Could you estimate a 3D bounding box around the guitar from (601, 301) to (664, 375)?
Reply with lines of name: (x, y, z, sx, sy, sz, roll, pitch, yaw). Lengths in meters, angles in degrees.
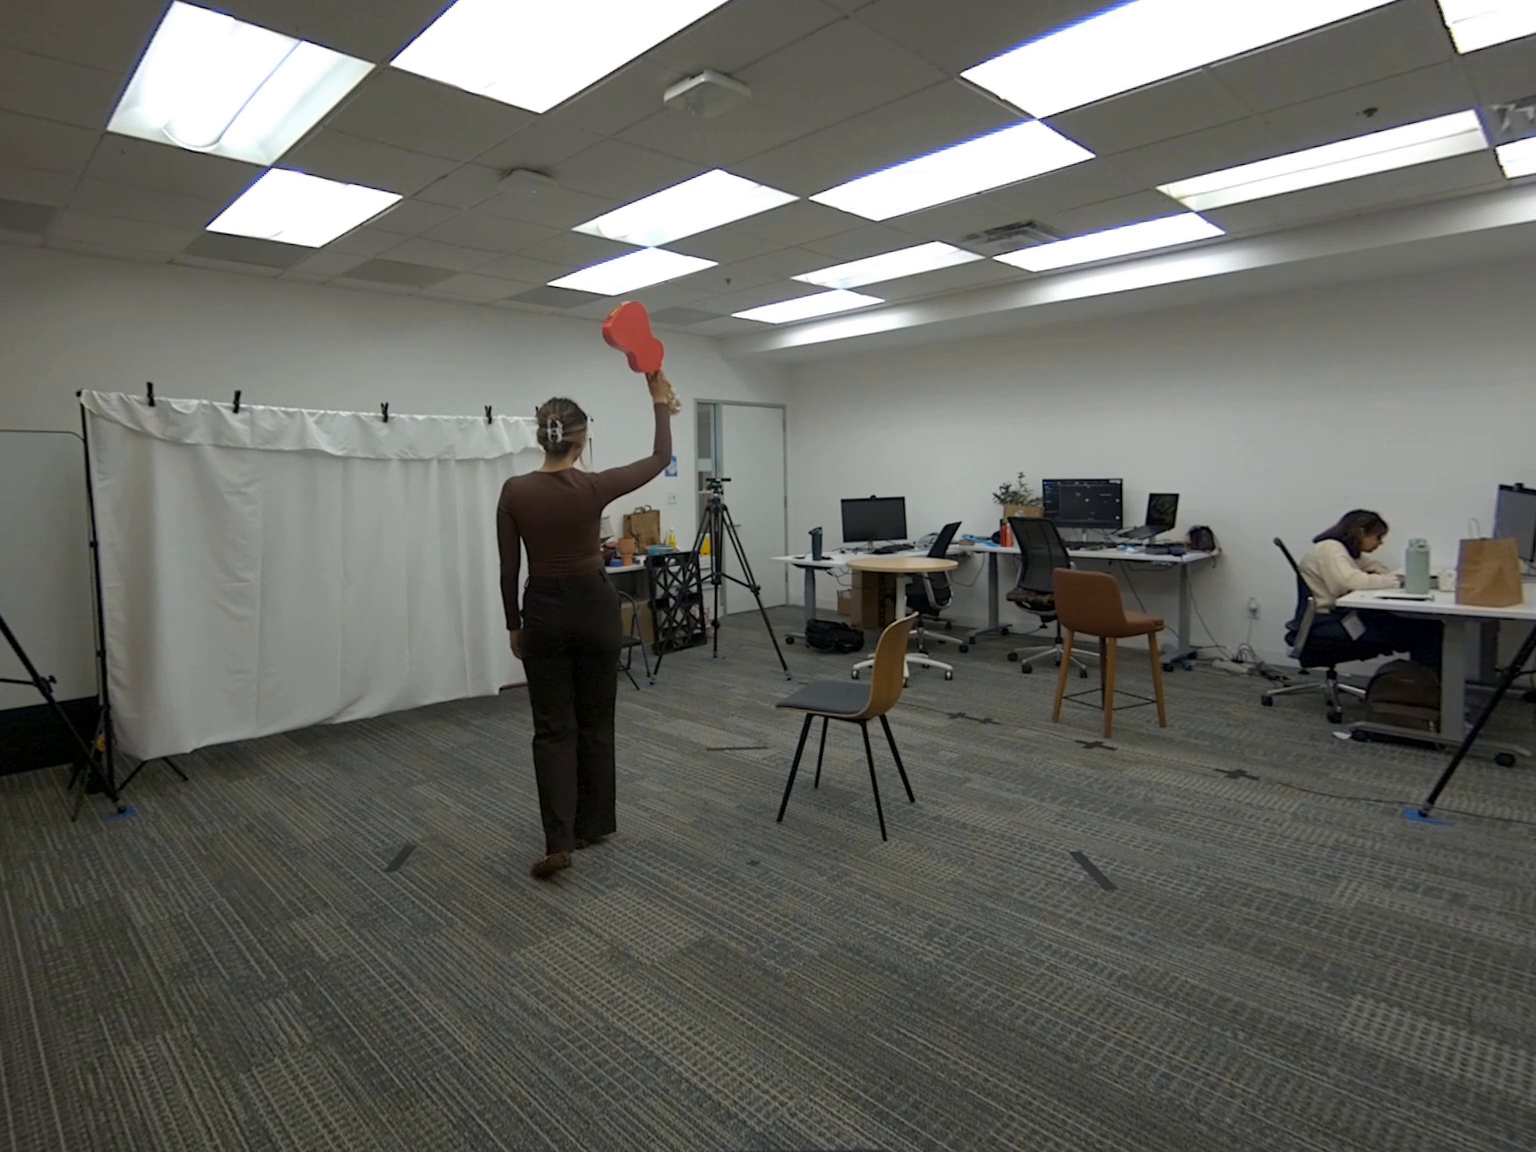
guitar: (-0.448, -0.849, 3.332, 0.073, 0.194, 0.478, 8, -28, 42)
